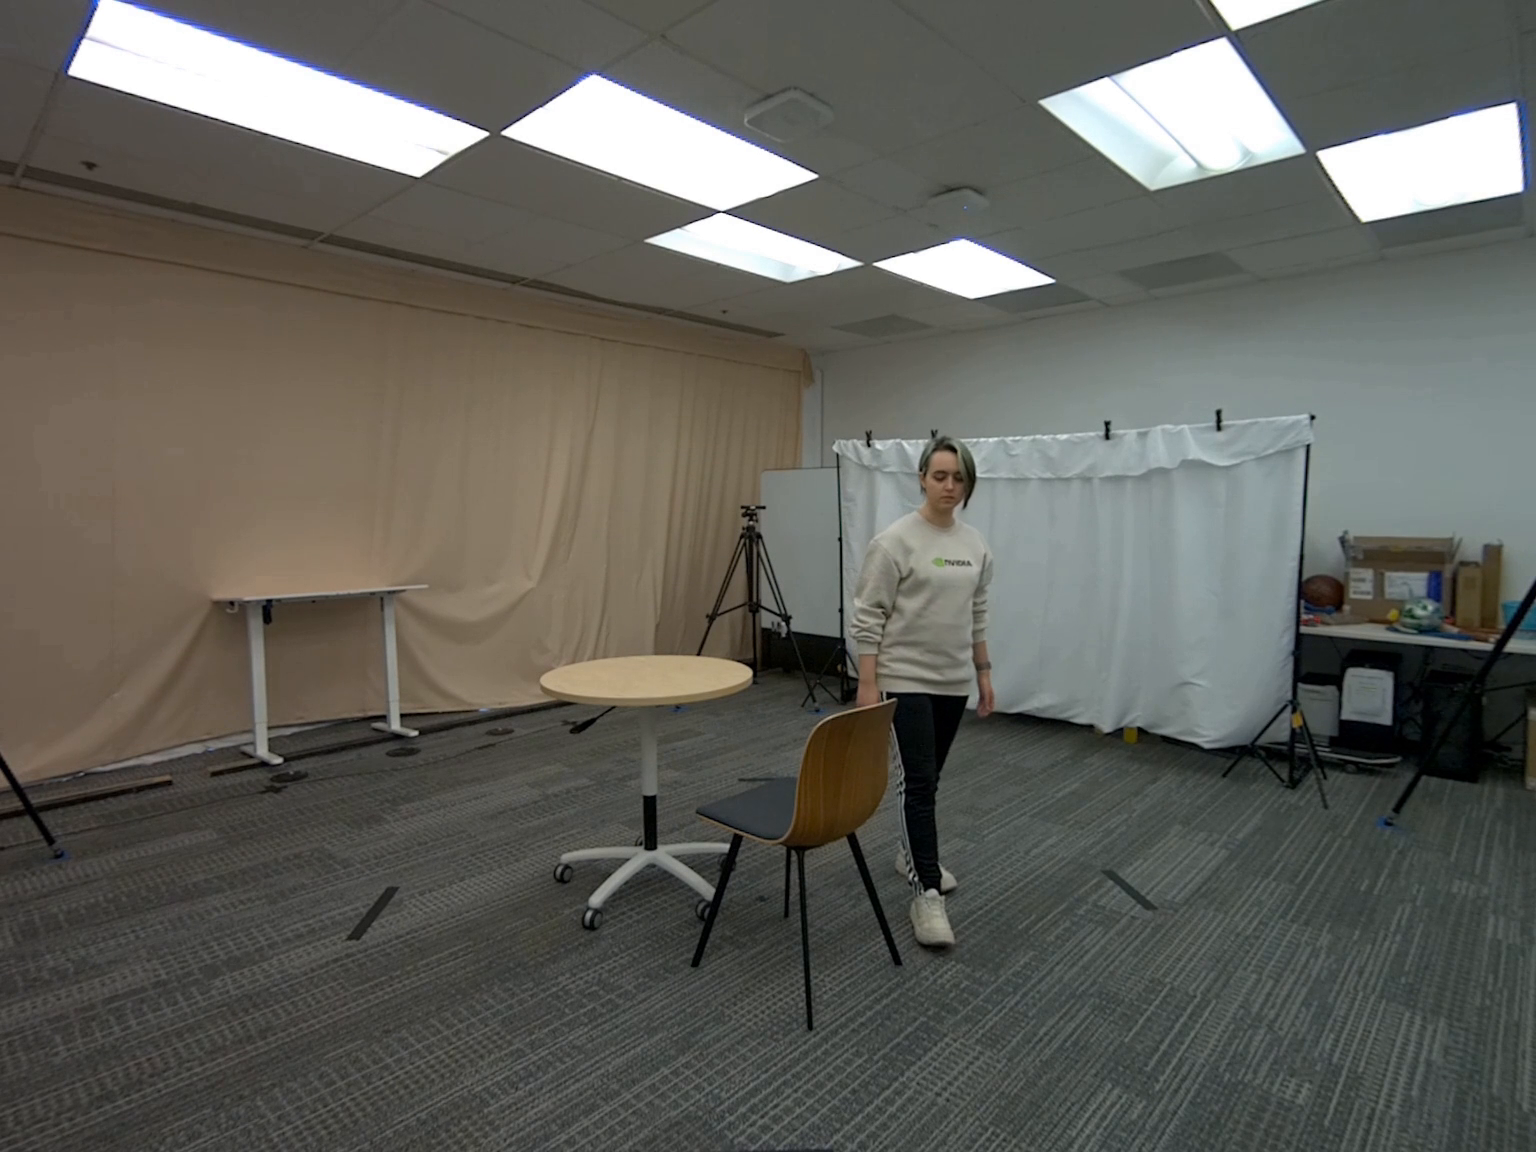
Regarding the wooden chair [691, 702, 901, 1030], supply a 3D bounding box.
[{"bbox_3d":[0.082,0.754,2.523,0.541,0.874,0.463,9,8,42],"label":"wooden chair"}]
